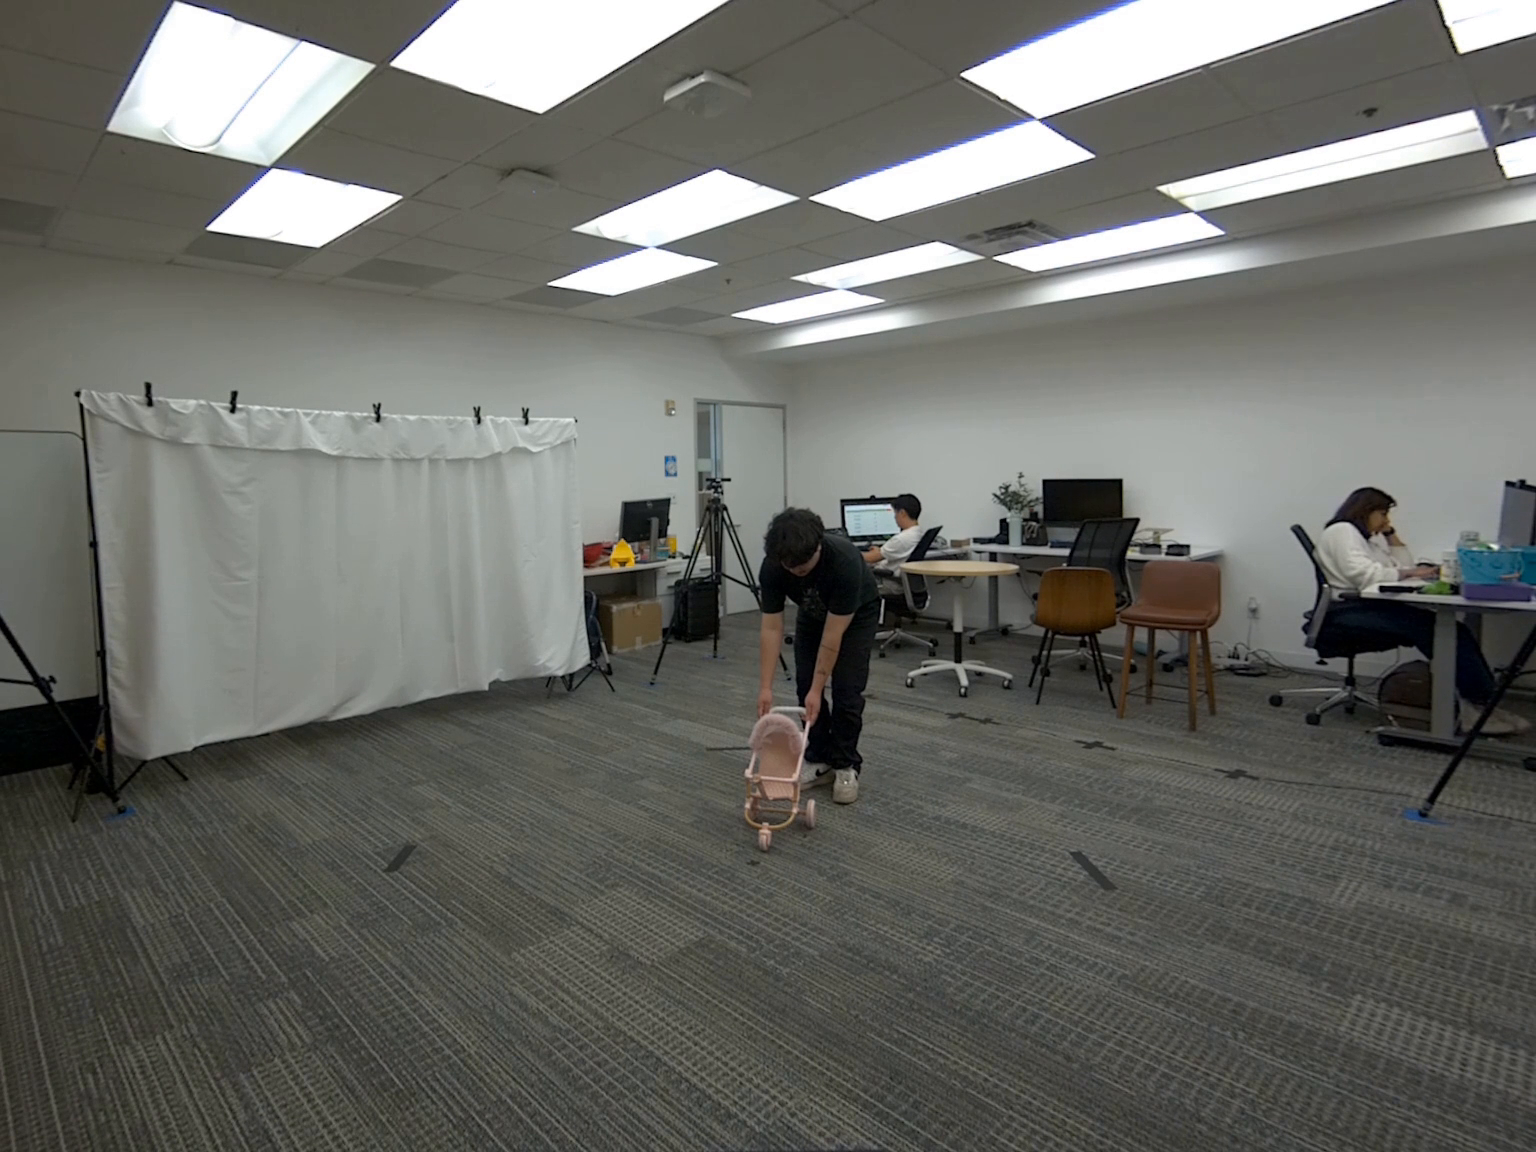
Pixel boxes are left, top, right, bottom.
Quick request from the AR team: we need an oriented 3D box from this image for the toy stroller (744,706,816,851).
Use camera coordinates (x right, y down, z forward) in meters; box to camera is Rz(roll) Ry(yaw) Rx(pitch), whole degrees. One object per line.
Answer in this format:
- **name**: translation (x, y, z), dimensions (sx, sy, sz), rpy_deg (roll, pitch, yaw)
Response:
- **toy stroller**: translation (0.030, 0.786, 3.380), dimensions (0.287, 0.540, 0.332), rpy_deg (0, -11, 20)
